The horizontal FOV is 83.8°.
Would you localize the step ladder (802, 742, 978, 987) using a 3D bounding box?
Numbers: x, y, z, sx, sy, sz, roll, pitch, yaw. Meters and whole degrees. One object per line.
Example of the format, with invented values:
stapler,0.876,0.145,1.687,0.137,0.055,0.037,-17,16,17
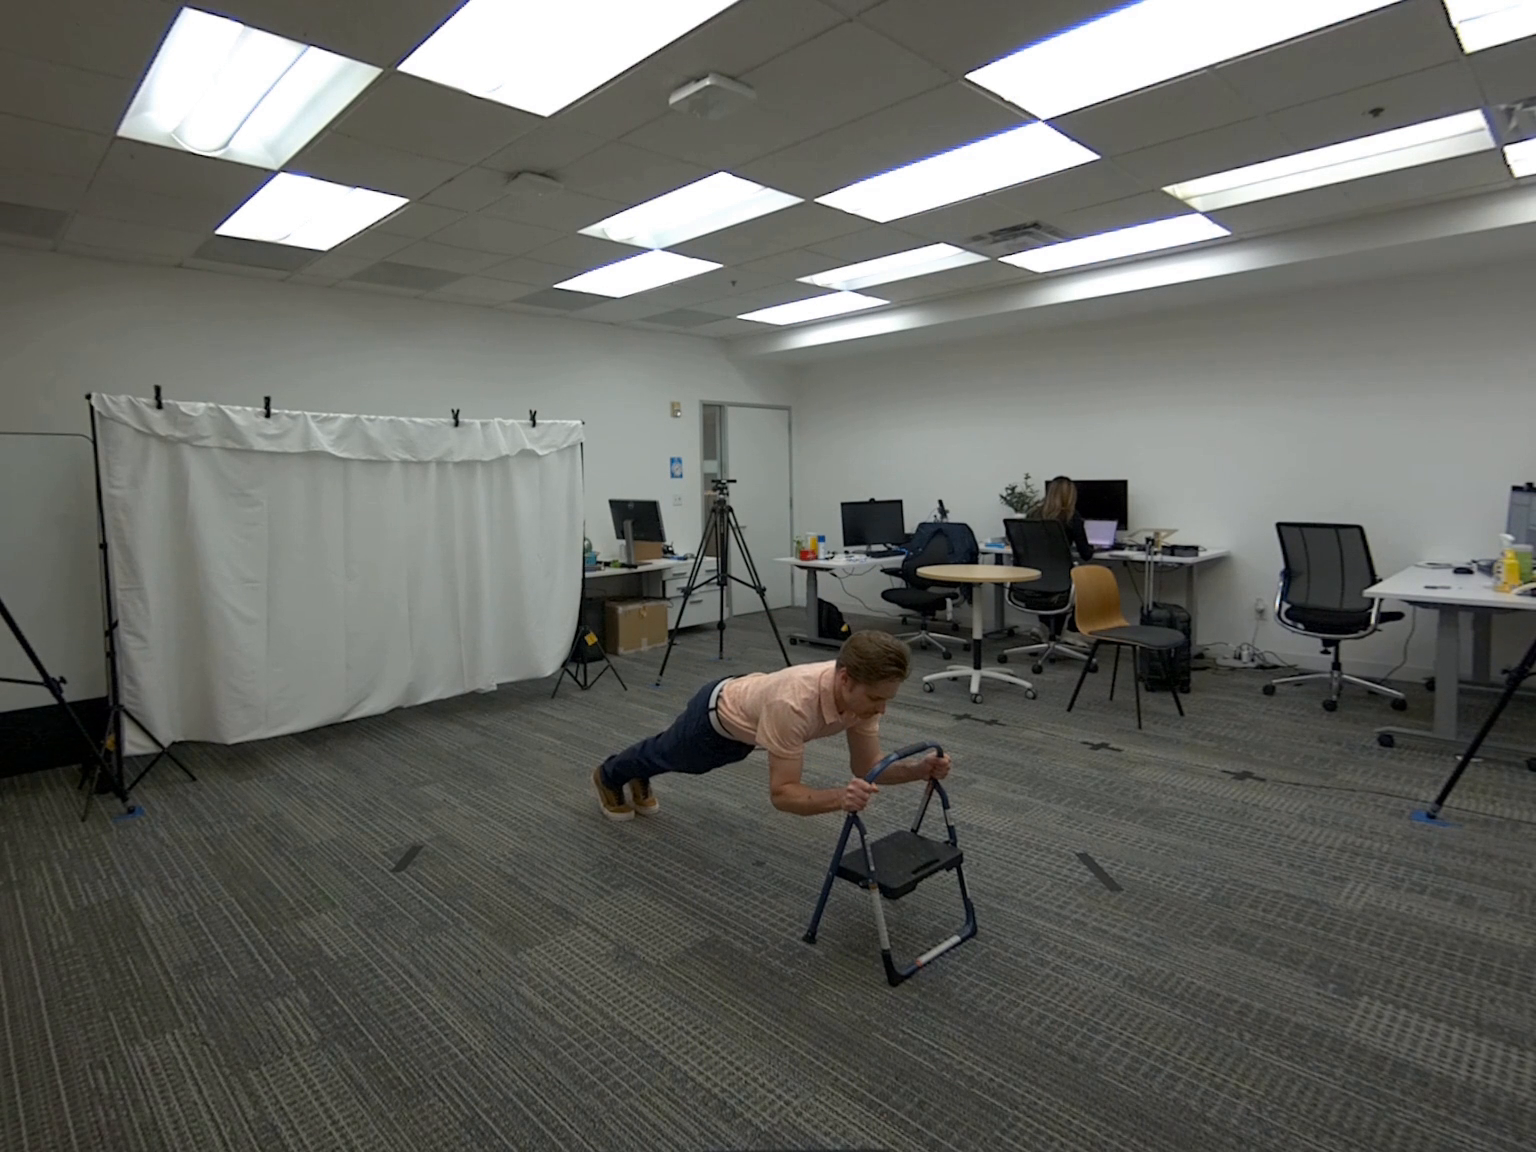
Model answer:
step ladder,0.376,0.800,2.579,0.419,0.603,0.360,-5,7,-43
